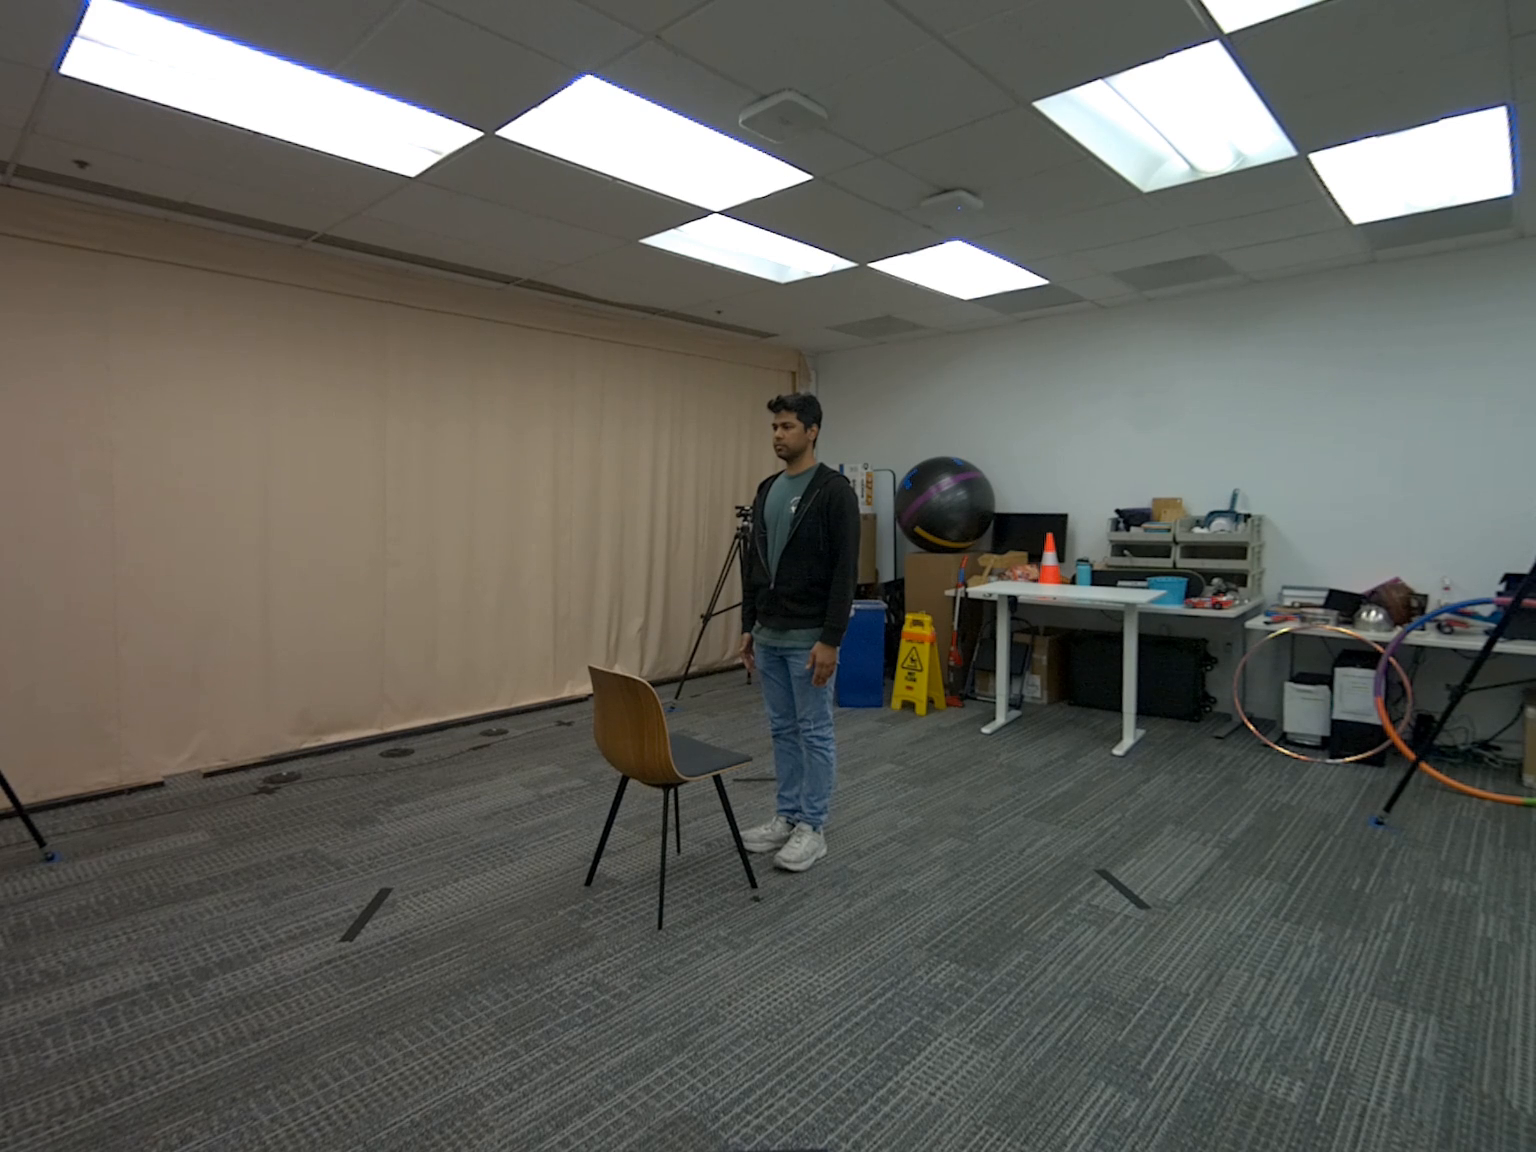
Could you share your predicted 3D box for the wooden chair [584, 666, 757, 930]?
[{"bbox_3d":[-0.352,0.716,3.052,0.508,0.874,0.494,-9,8,-43],"label":"wooden chair"}]
